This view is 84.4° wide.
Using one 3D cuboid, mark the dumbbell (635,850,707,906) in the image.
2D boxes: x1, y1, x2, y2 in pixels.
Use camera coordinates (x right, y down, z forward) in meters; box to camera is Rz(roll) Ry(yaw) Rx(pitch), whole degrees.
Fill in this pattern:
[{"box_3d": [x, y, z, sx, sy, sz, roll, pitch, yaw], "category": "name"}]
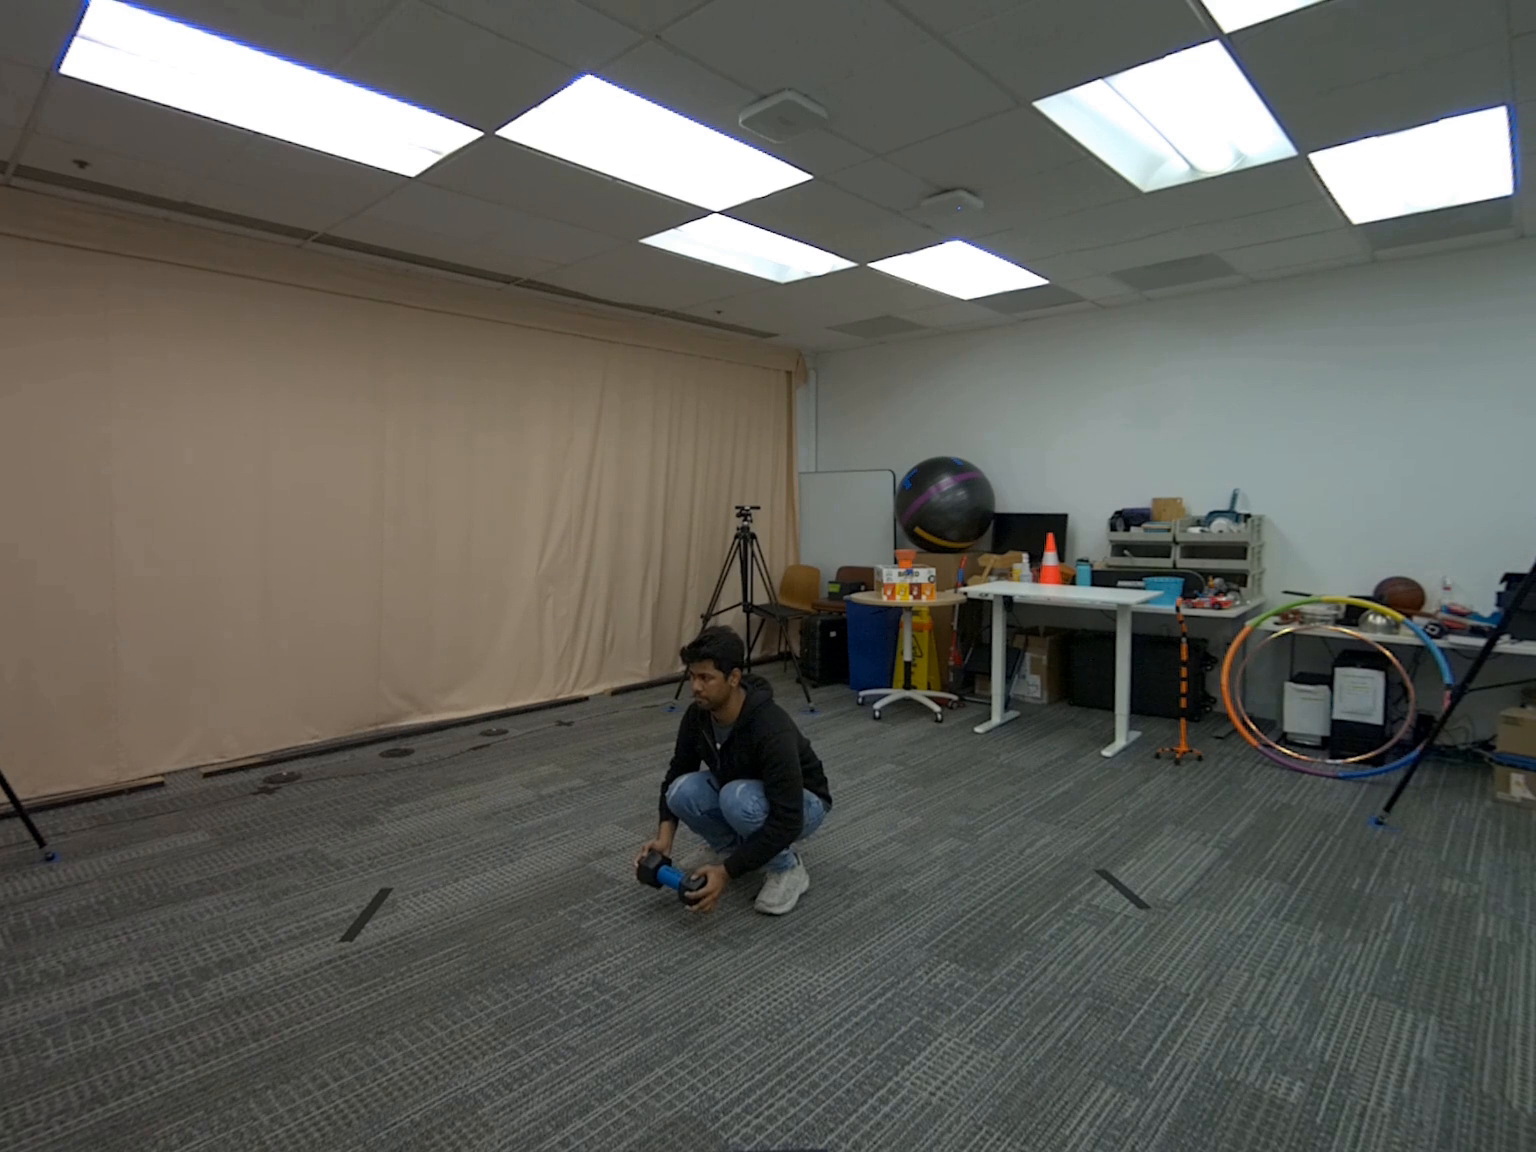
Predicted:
[{"box_3d": [-0.307, 1.014, 2.840, 0.303, 0.107, 0.121, 5, 31, 43], "category": "dumbbell"}]
